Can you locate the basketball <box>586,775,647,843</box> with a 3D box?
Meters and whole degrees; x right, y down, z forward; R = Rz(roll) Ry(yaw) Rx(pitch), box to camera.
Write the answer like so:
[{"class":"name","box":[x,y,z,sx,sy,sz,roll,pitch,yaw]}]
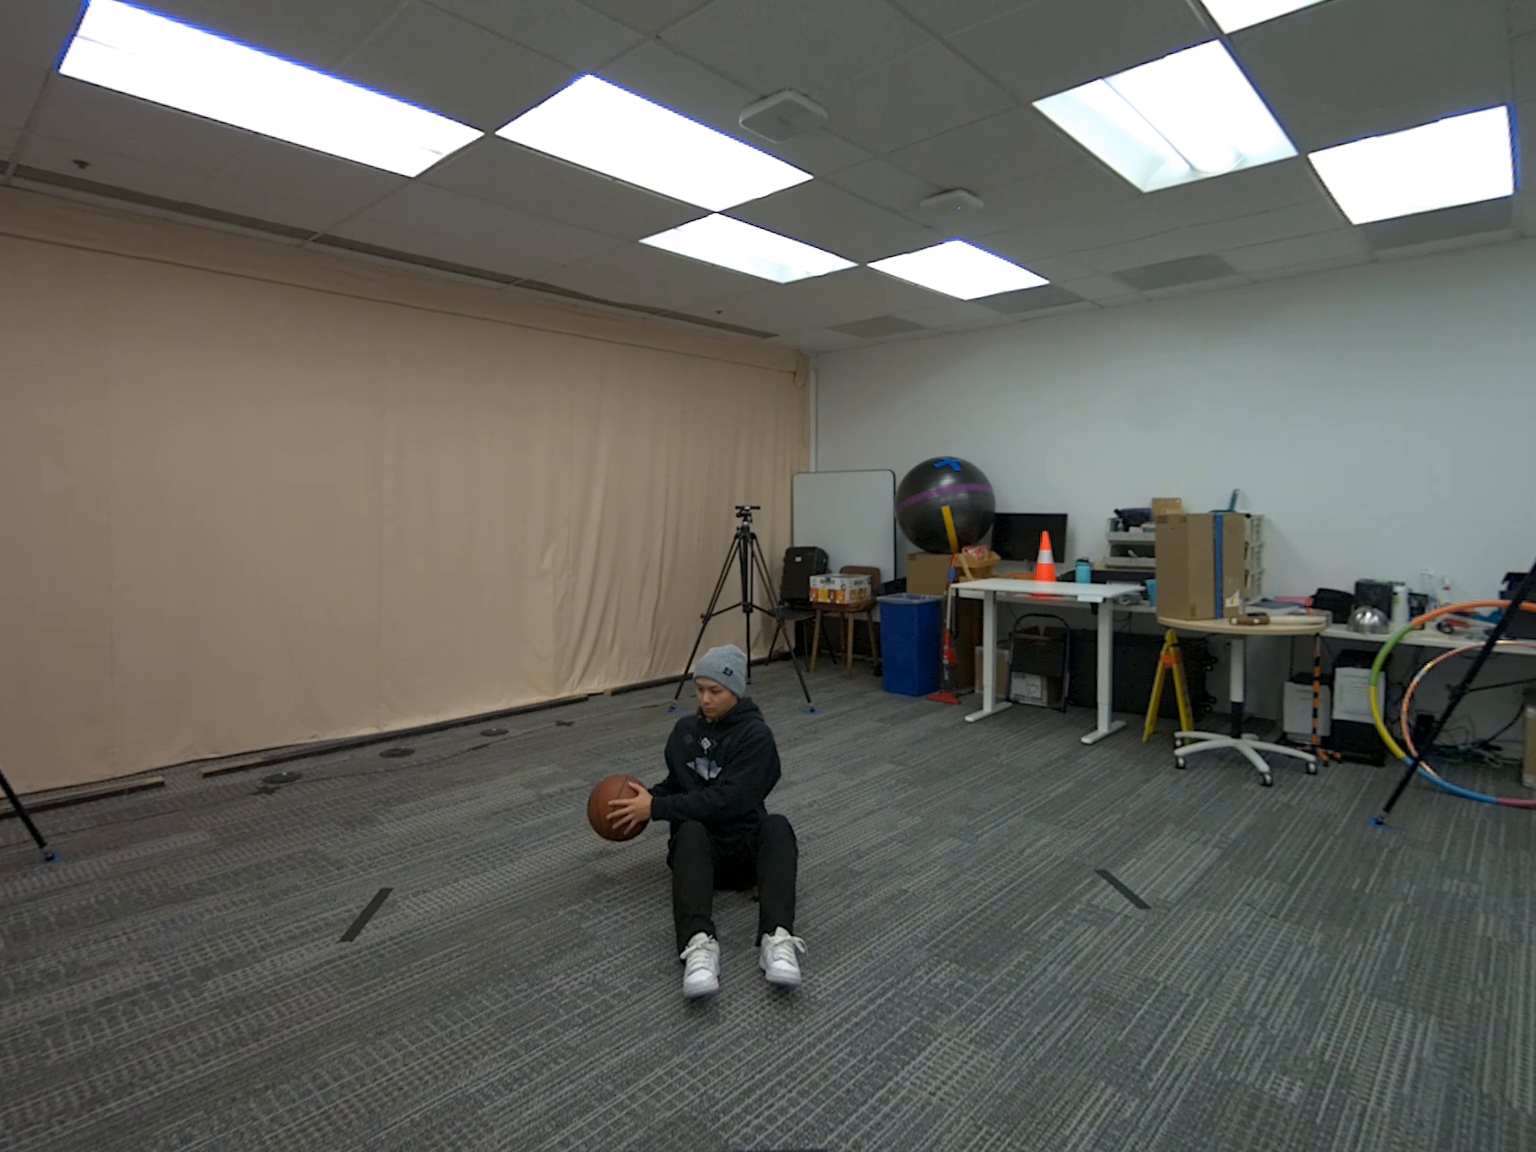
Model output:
[{"class":"basketball","box":[-0.543,0.857,3.101,0.236,0.235,0.237,0,4,-2]}]
